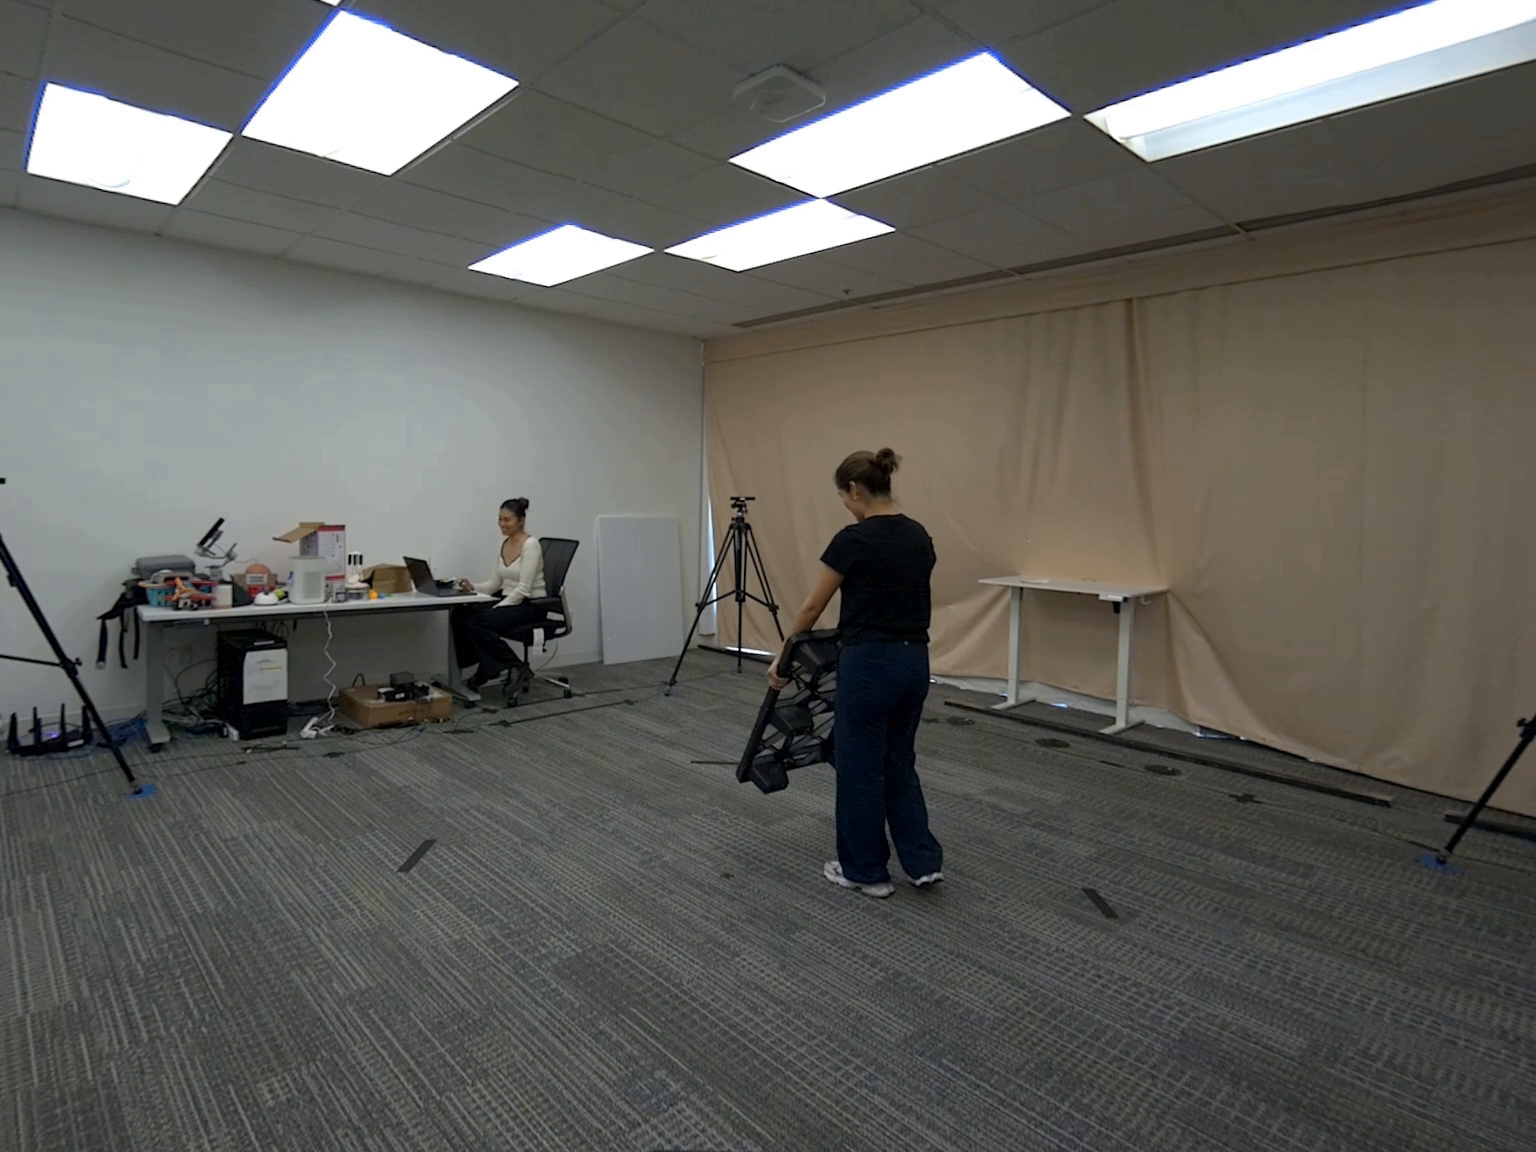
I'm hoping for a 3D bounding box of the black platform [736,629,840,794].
[{"bbox_3d":[0.245,0.520,3.255,0.594,0.795,0.148,-6,41,-29],"label":"black platform"}]
